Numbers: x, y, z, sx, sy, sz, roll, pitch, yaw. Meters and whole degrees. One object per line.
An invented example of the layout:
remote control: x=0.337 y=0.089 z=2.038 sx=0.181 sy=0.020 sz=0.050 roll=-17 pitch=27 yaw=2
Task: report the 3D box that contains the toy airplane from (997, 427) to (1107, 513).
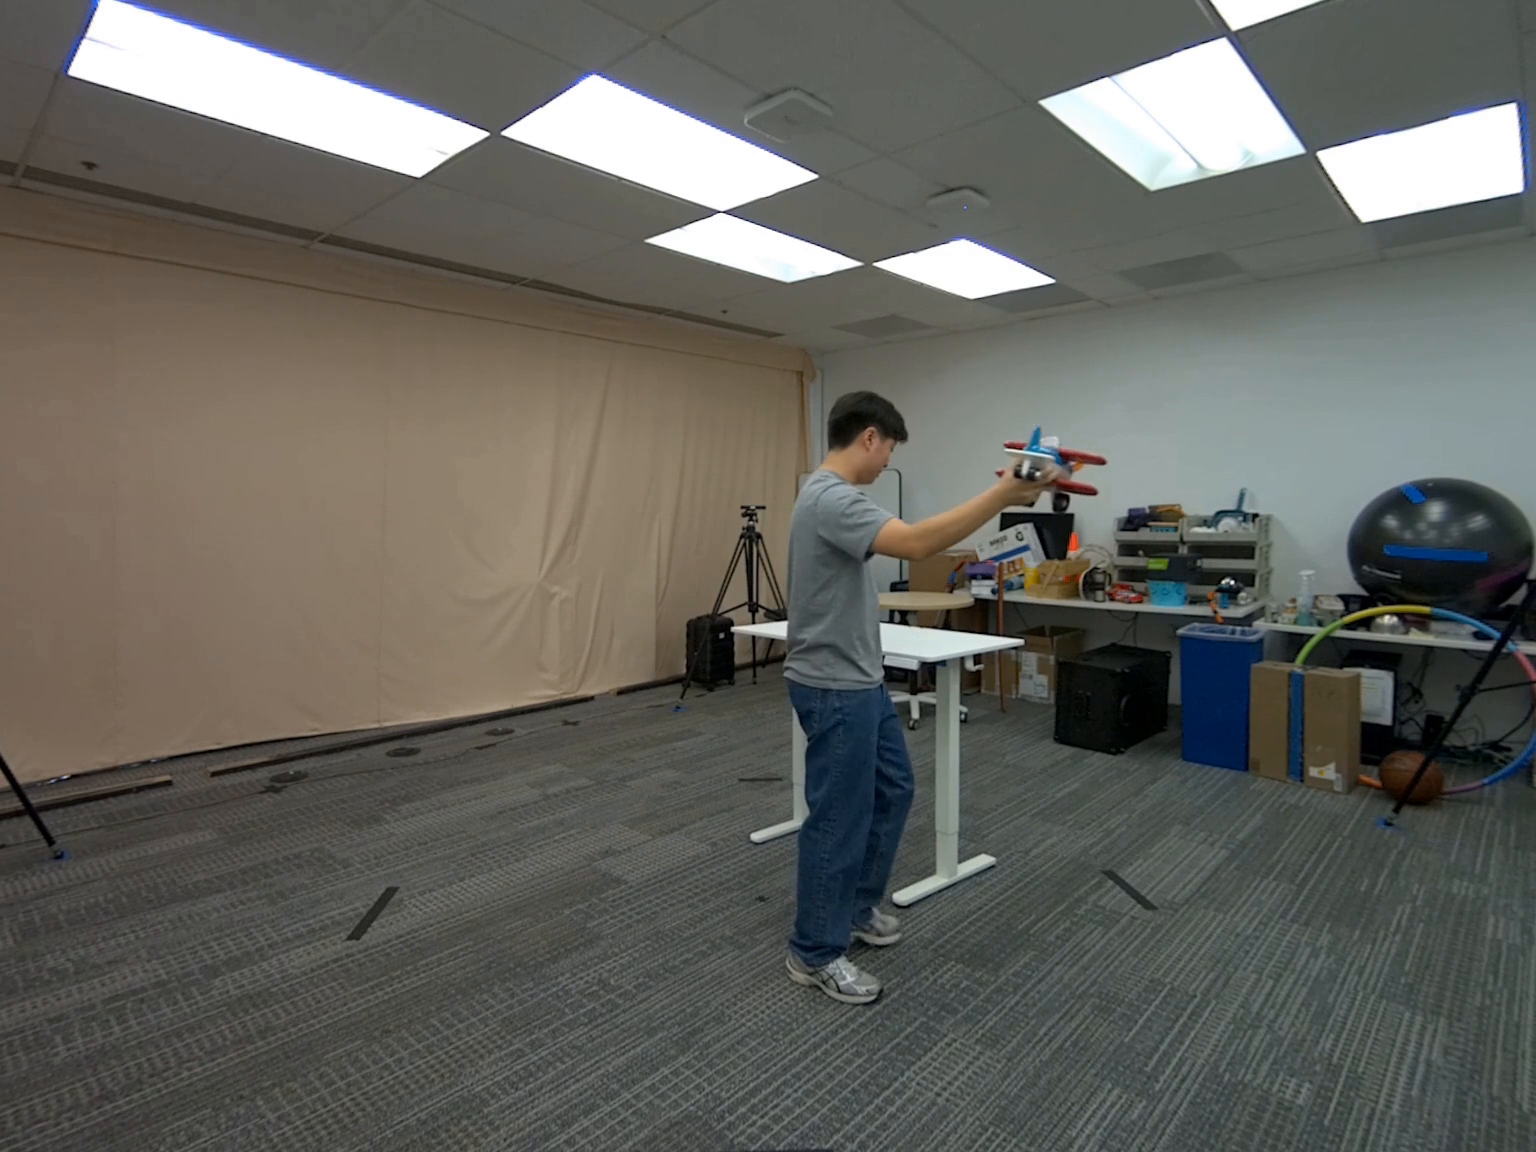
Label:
toy airplane: x=0.716 y=-0.268 z=2.113 sx=0.254 sy=0.156 sz=0.255 roll=22 pitch=-10 yaw=10
